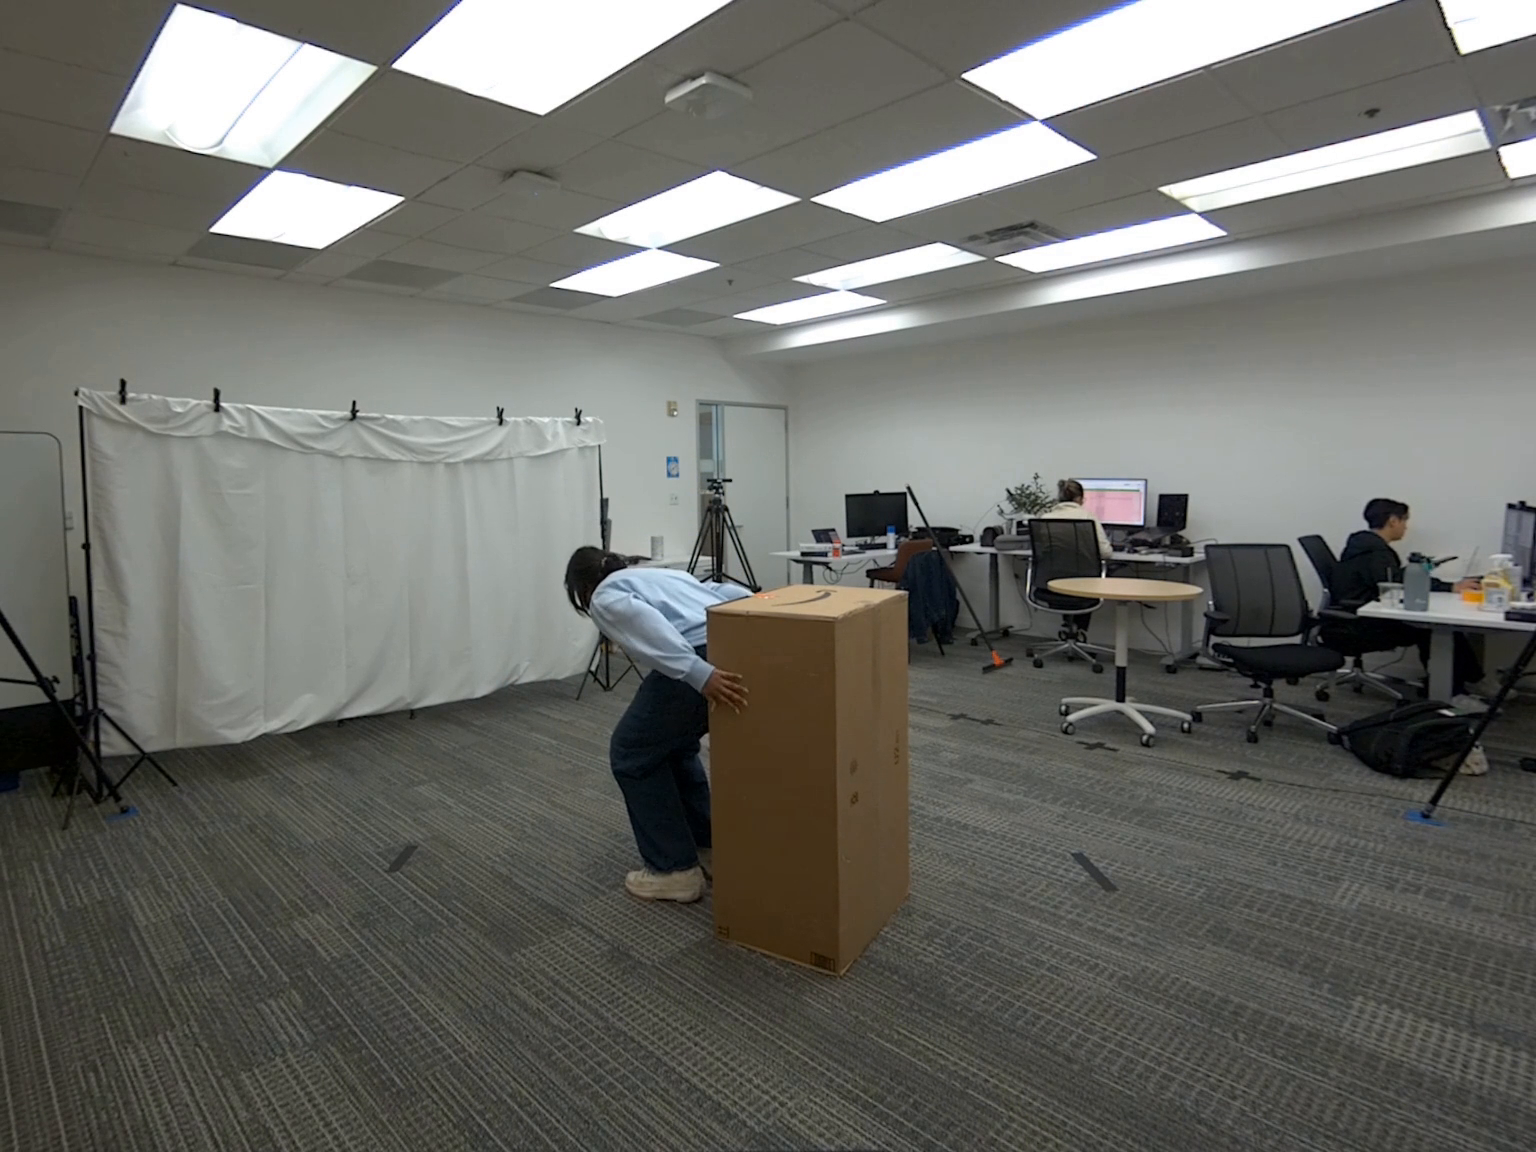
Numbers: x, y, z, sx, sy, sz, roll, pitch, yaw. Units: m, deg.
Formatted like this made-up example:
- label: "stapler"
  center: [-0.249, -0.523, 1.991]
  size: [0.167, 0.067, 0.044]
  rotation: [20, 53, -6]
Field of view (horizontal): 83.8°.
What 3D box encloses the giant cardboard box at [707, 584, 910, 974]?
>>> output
- label: "giant cardboard box"
  center: [0.145, 0.581, 2.694]
  size: [0.438, 1.022, 0.564]
  rotation: [1, 5, 31]
